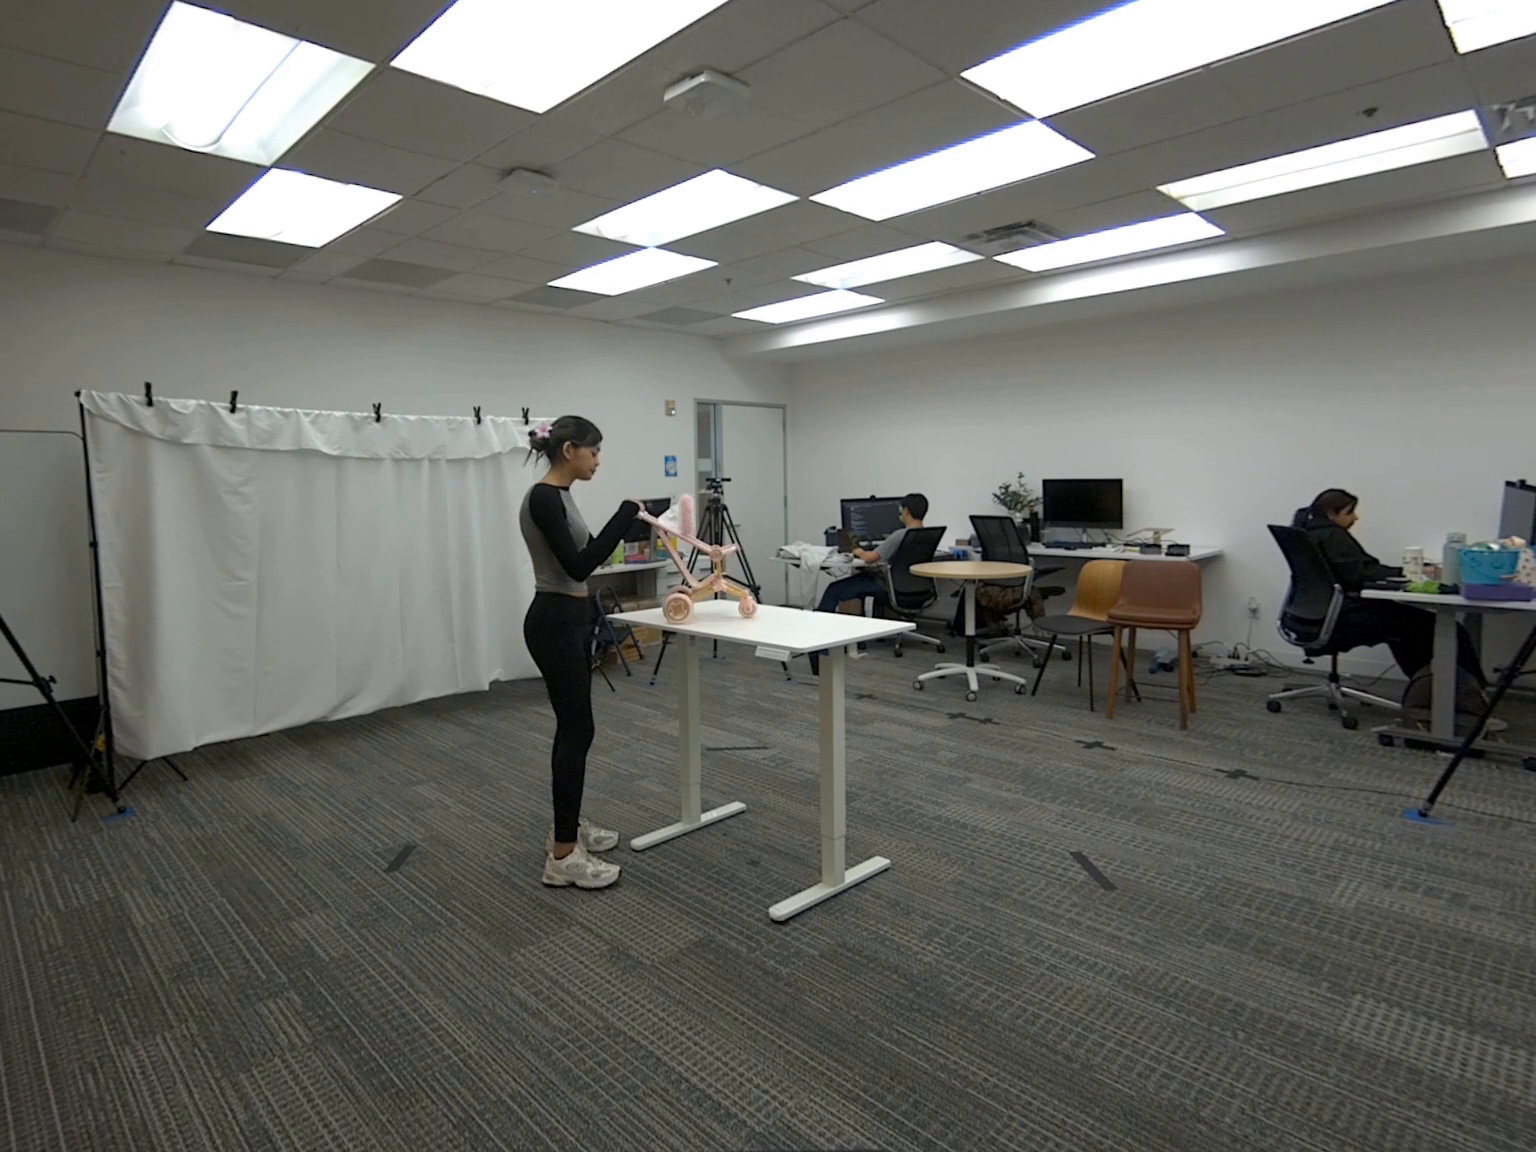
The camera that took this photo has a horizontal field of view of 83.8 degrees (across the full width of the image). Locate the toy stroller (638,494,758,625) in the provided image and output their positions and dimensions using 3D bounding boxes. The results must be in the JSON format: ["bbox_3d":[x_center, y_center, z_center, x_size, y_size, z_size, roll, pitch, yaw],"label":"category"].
[{"bbox_3d":[-0.266,-0.062,3.131,0.342,0.534,0.281,-17,2,3],"label":"toy stroller"}]
